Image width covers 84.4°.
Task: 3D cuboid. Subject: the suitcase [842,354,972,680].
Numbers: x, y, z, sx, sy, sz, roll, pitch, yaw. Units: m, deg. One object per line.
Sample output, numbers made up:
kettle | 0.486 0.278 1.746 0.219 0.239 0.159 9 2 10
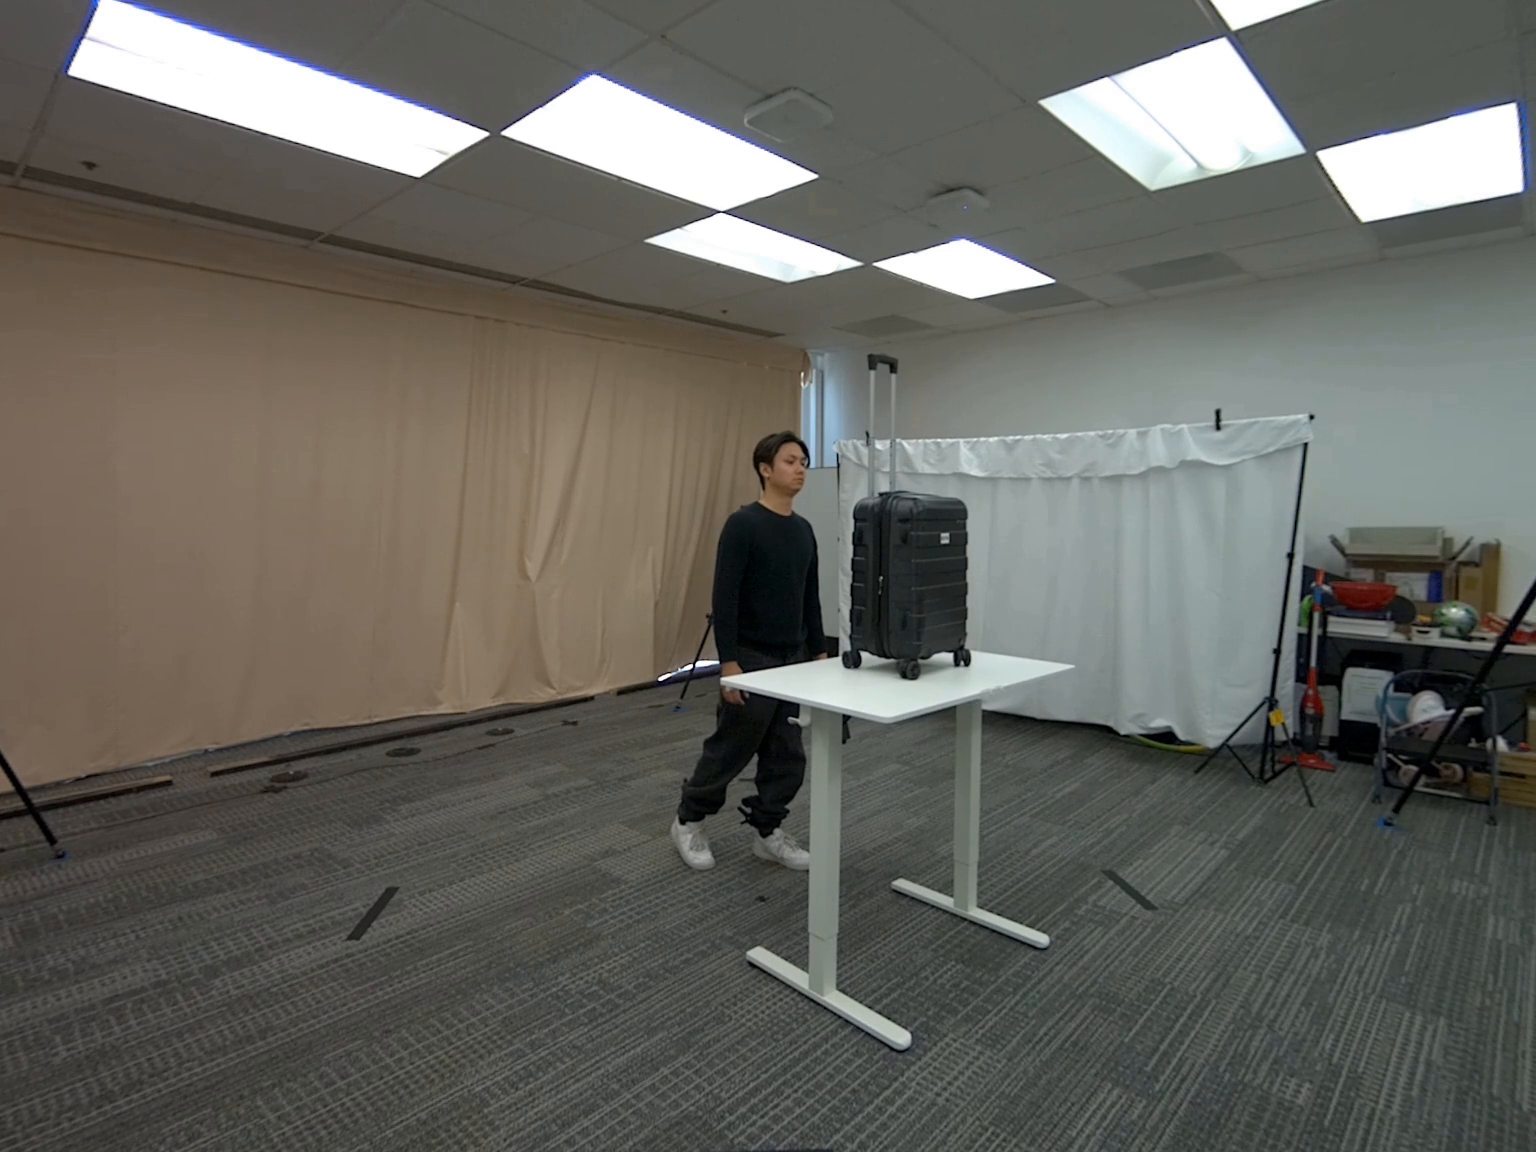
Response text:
suitcase | 0.459 -0.193 2.627 0.266 0.976 0.372 5 5 42
